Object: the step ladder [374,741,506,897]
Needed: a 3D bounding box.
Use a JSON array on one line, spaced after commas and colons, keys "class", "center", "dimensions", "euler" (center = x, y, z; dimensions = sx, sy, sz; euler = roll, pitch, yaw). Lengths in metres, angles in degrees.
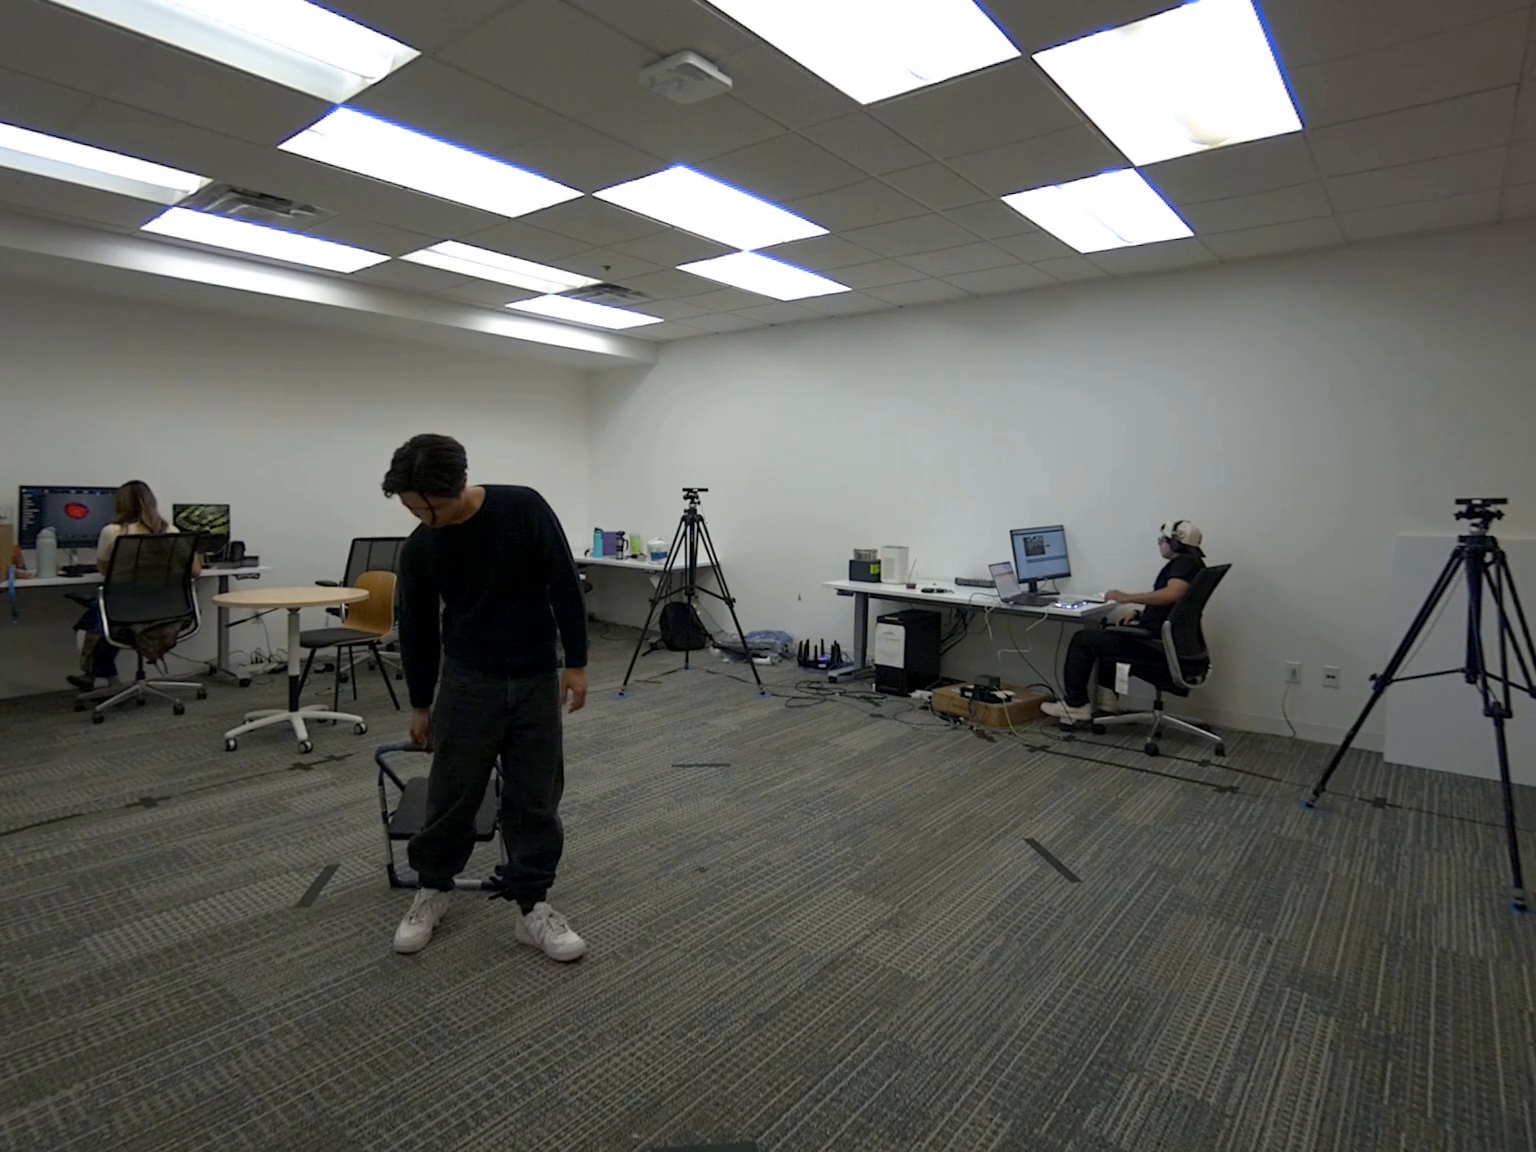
[{"class": "step ladder", "center": [-1.116, 0.737, 2.906], "dimensions": [0.431, 0.590, 0.359], "euler": [0, 34, -1]}]
